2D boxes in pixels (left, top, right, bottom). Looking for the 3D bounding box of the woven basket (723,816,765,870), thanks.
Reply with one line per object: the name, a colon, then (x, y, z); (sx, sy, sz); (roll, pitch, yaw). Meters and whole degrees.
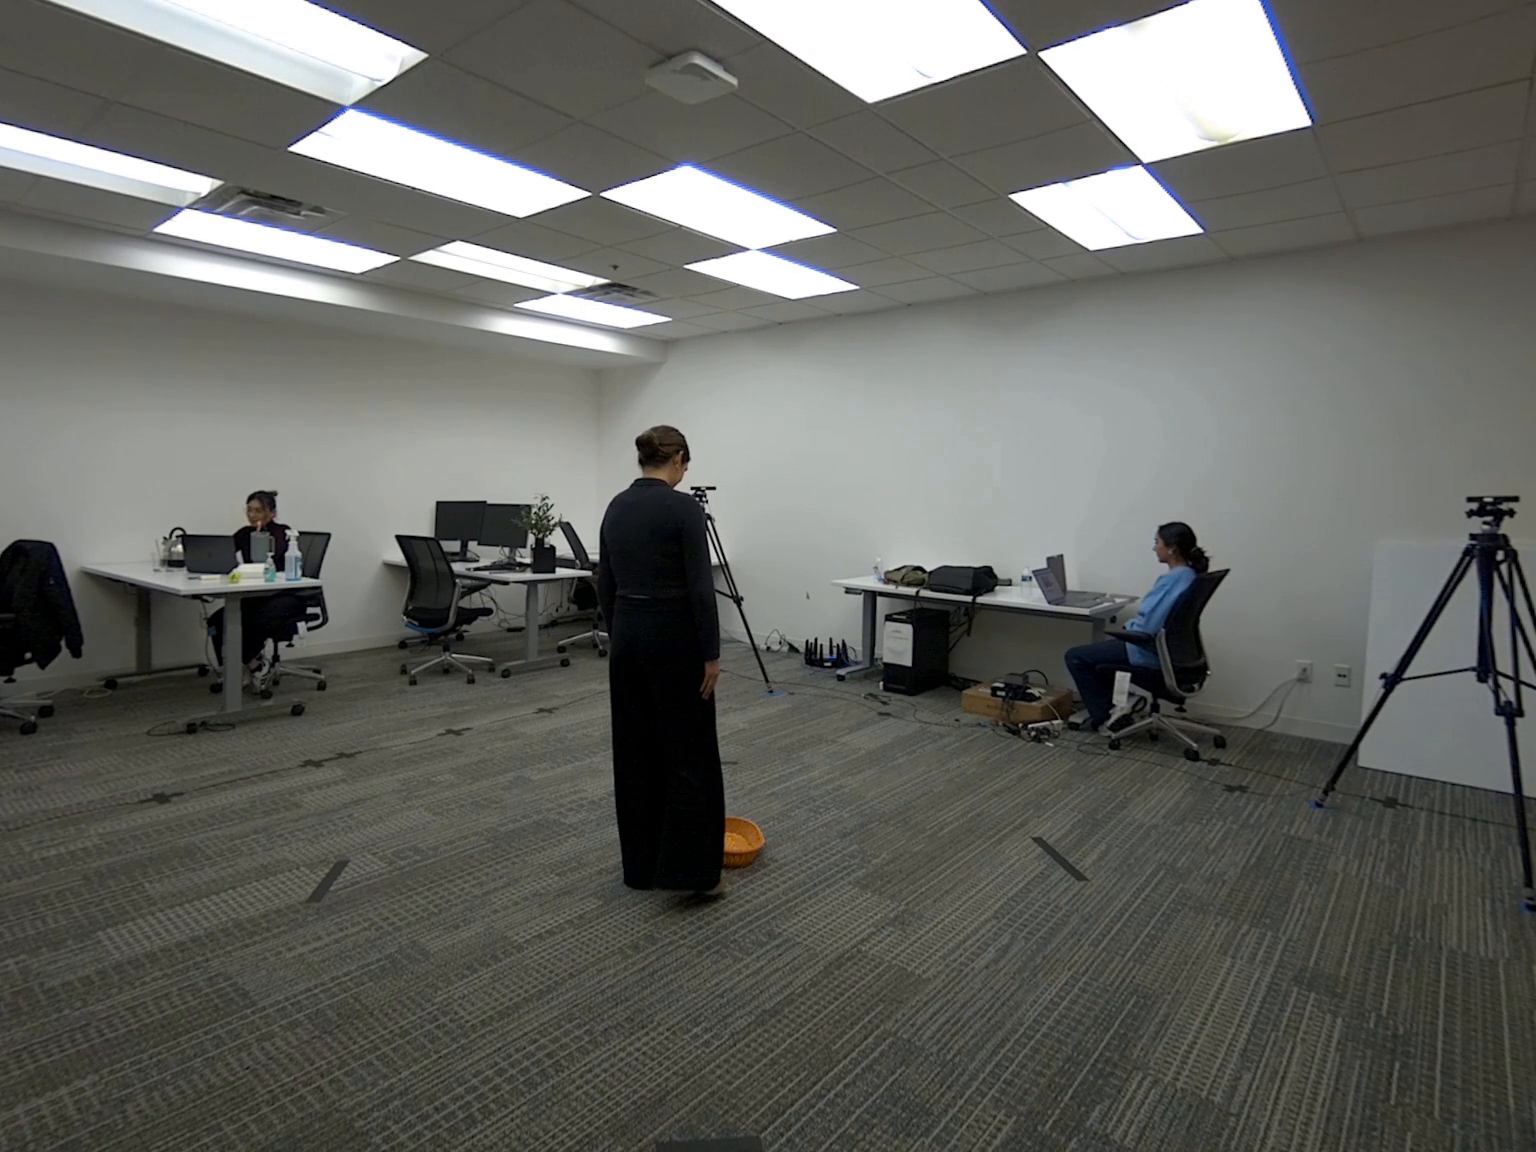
woven basket: (-0.152, 1.009, 3.254); (0.250, 0.073, 0.356); (1, 6, -11)
